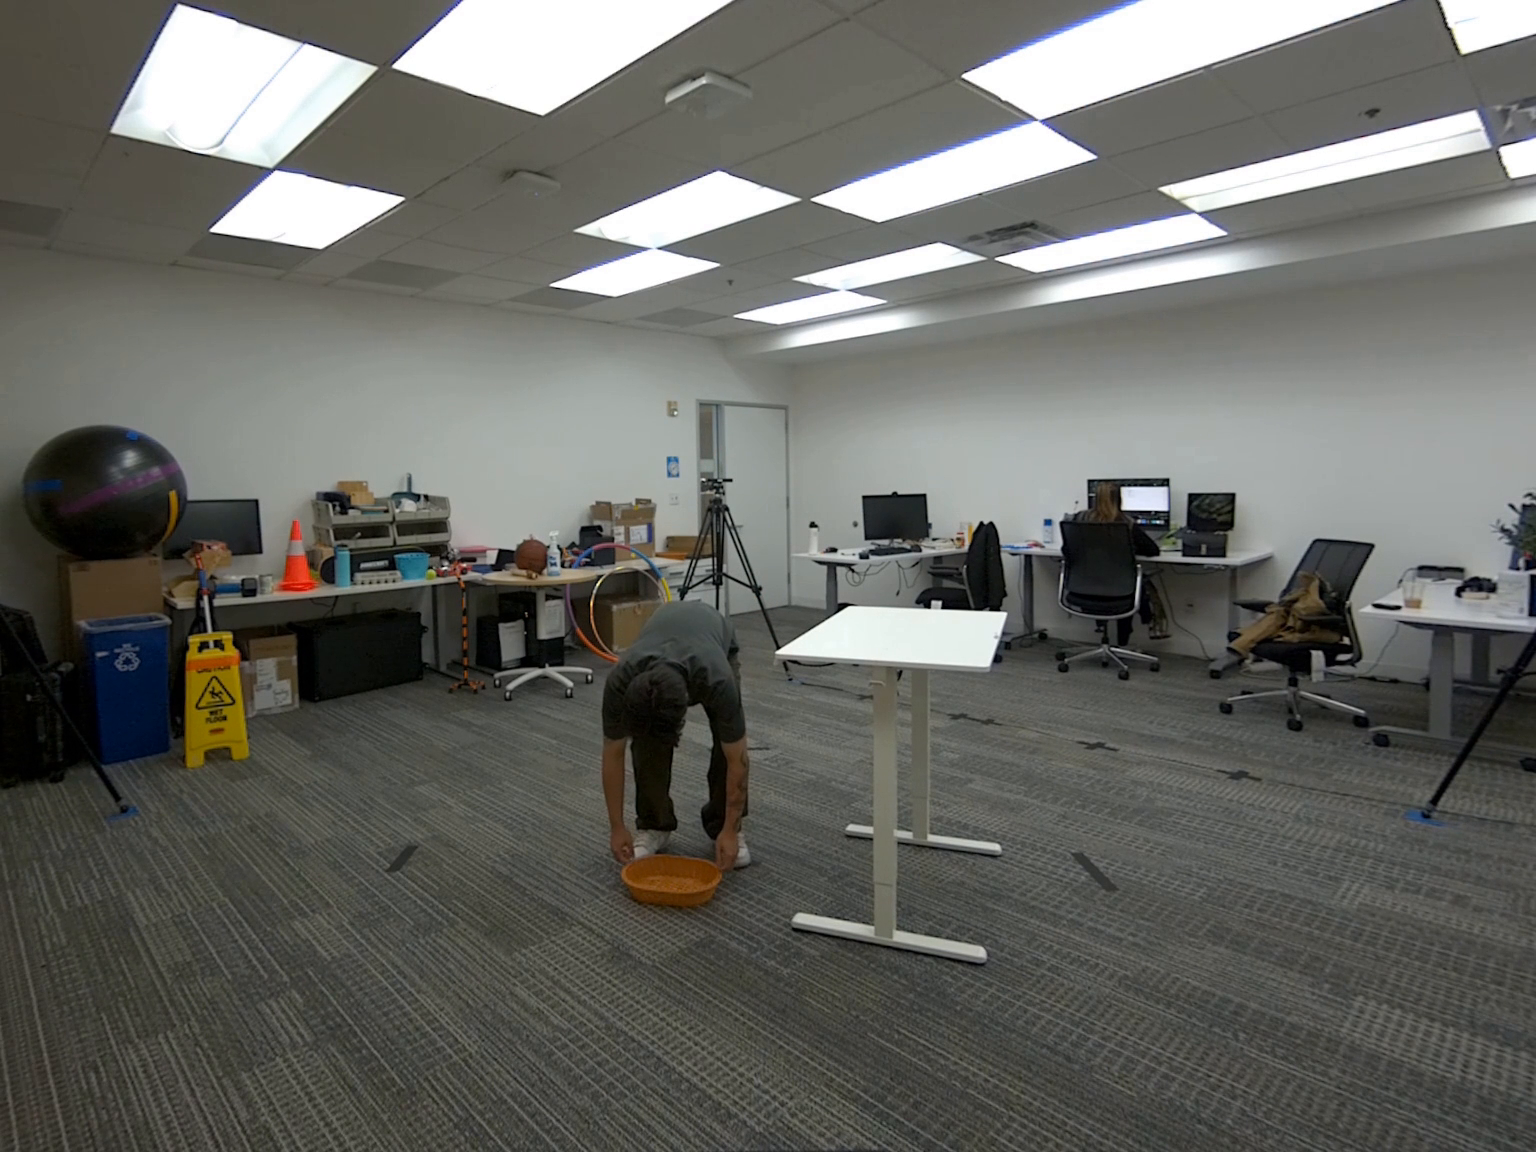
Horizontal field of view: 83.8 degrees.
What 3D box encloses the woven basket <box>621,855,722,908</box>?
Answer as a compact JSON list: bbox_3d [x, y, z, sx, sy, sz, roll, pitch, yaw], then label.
[{"bbox_3d":[-0.326,1.035,2.896,0.357,0.073,0.249,1,7,20],"label":"woven basket"}]
